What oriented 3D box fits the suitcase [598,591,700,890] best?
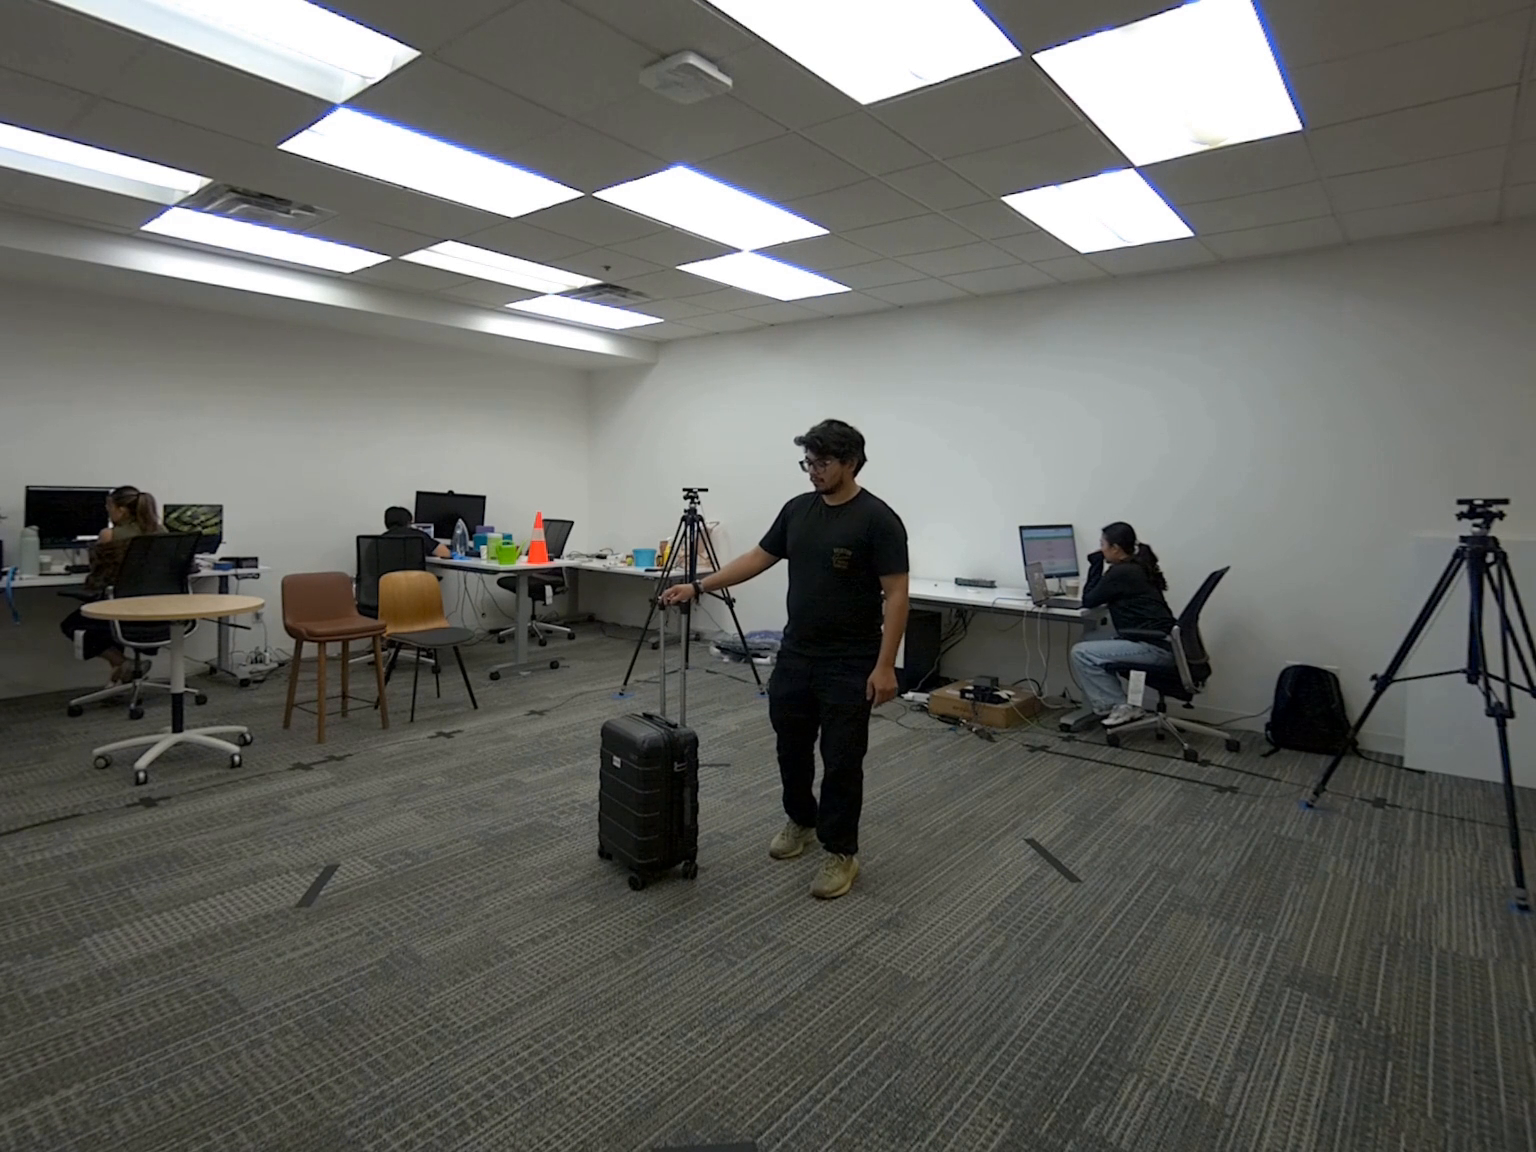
[{"bbox_3d":[-0.449,0.594,3.096,0.250,0.976,0.396,-2,3,-33],"label":"suitcase"}]
